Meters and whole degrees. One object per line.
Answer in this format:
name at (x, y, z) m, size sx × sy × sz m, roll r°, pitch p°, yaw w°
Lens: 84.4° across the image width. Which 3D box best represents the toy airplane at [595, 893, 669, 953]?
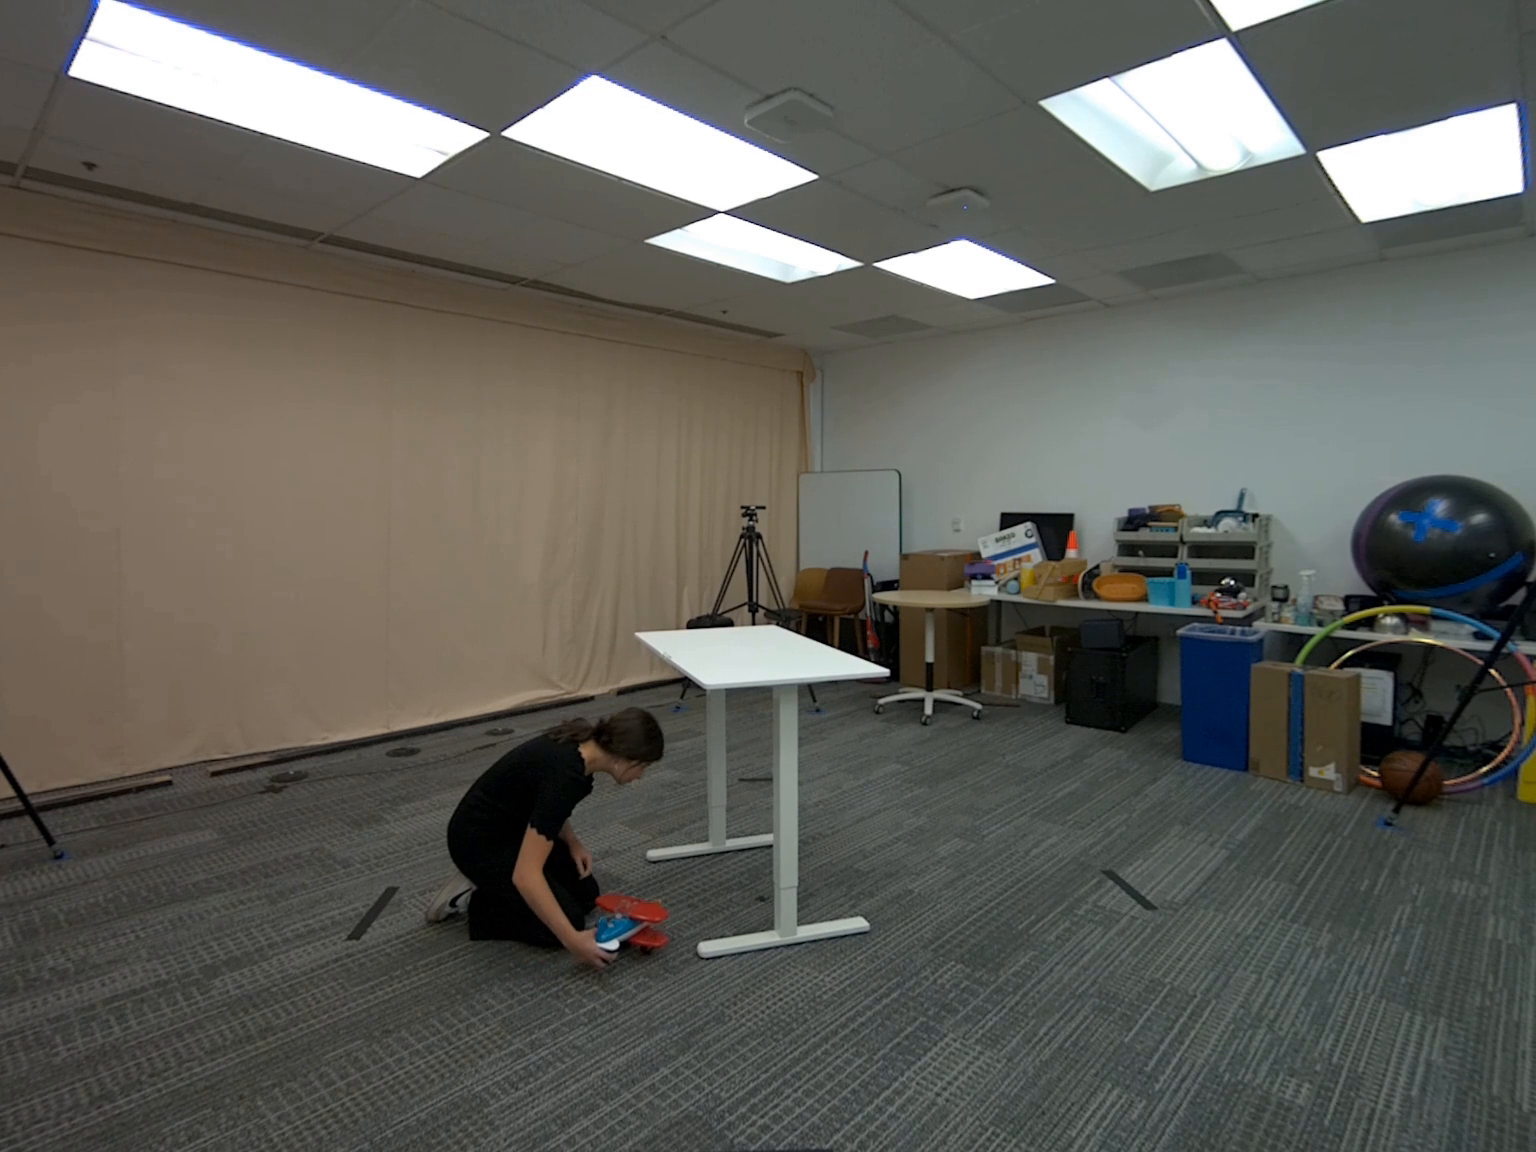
toy airplane at (-0.429, 1.094, 2.564) m, size 0.252 × 0.157 × 0.257 m, roll 8°, pitch -10°, yaw 2°
